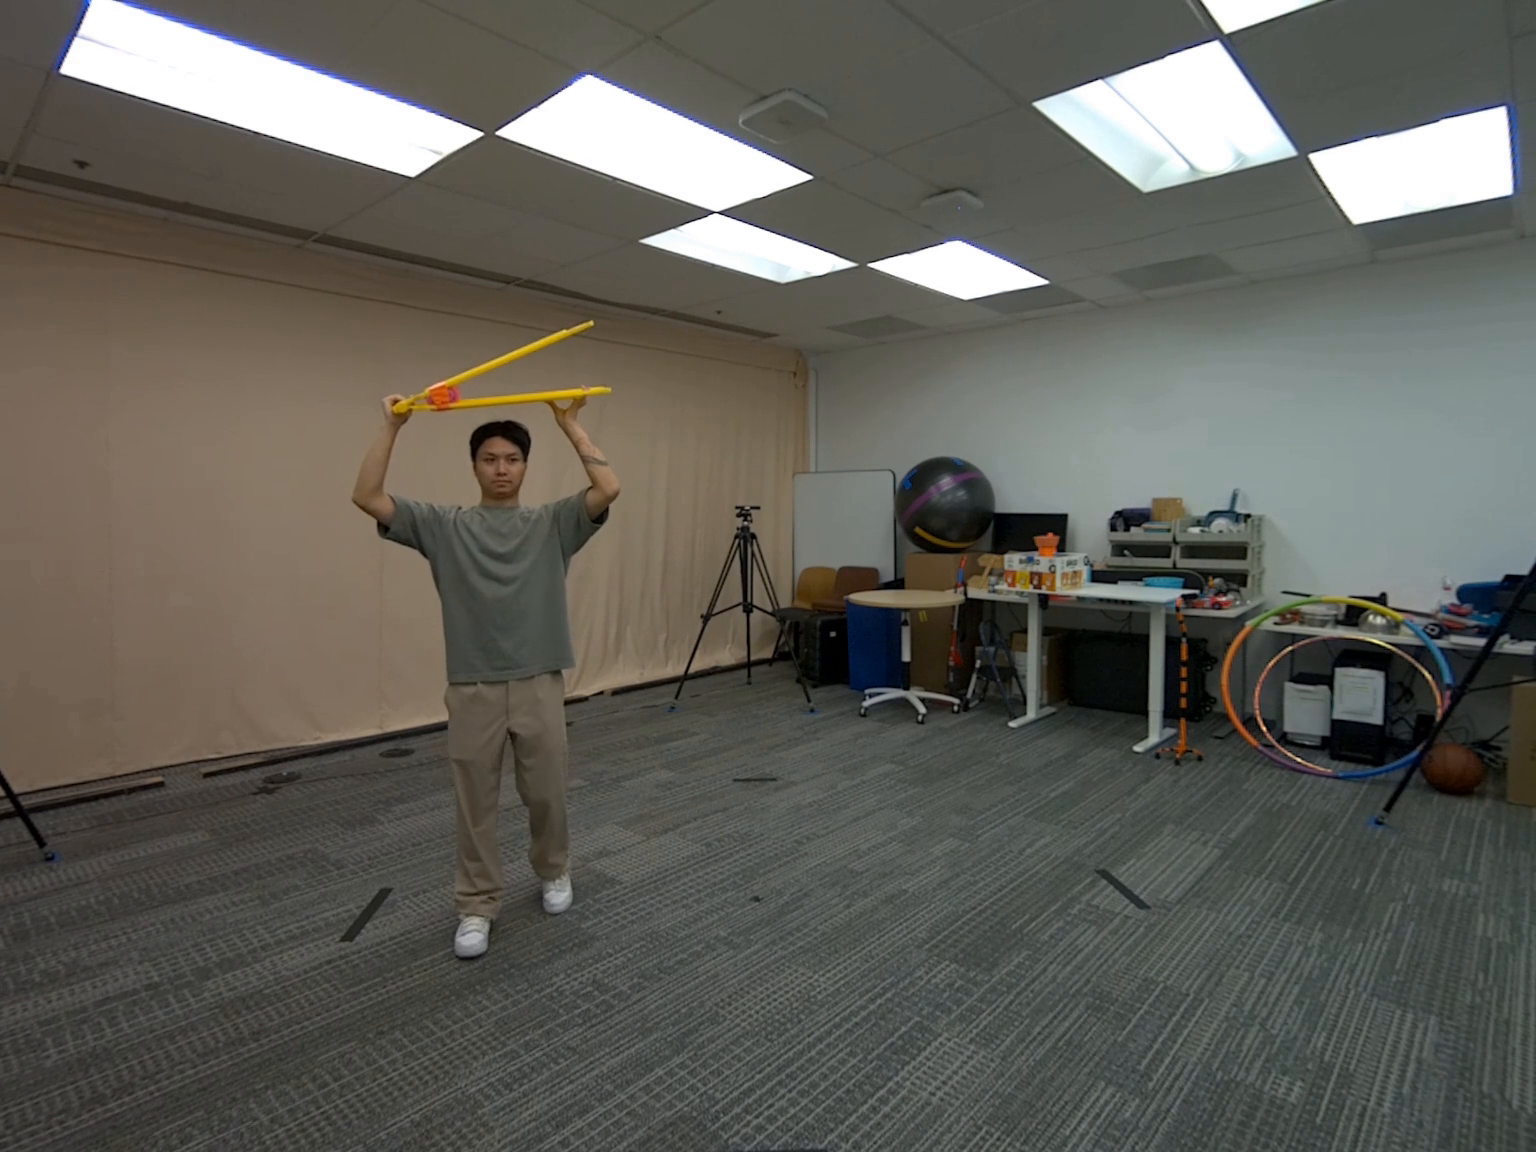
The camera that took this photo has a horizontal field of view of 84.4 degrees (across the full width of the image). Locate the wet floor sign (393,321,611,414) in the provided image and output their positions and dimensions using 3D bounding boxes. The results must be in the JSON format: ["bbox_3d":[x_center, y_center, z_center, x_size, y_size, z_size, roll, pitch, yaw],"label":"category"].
[{"bbox_3d":[-0.845,-0.611,2.670,0.638,0.286,0.289,-17,18,-14],"label":"wet floor sign"}]
